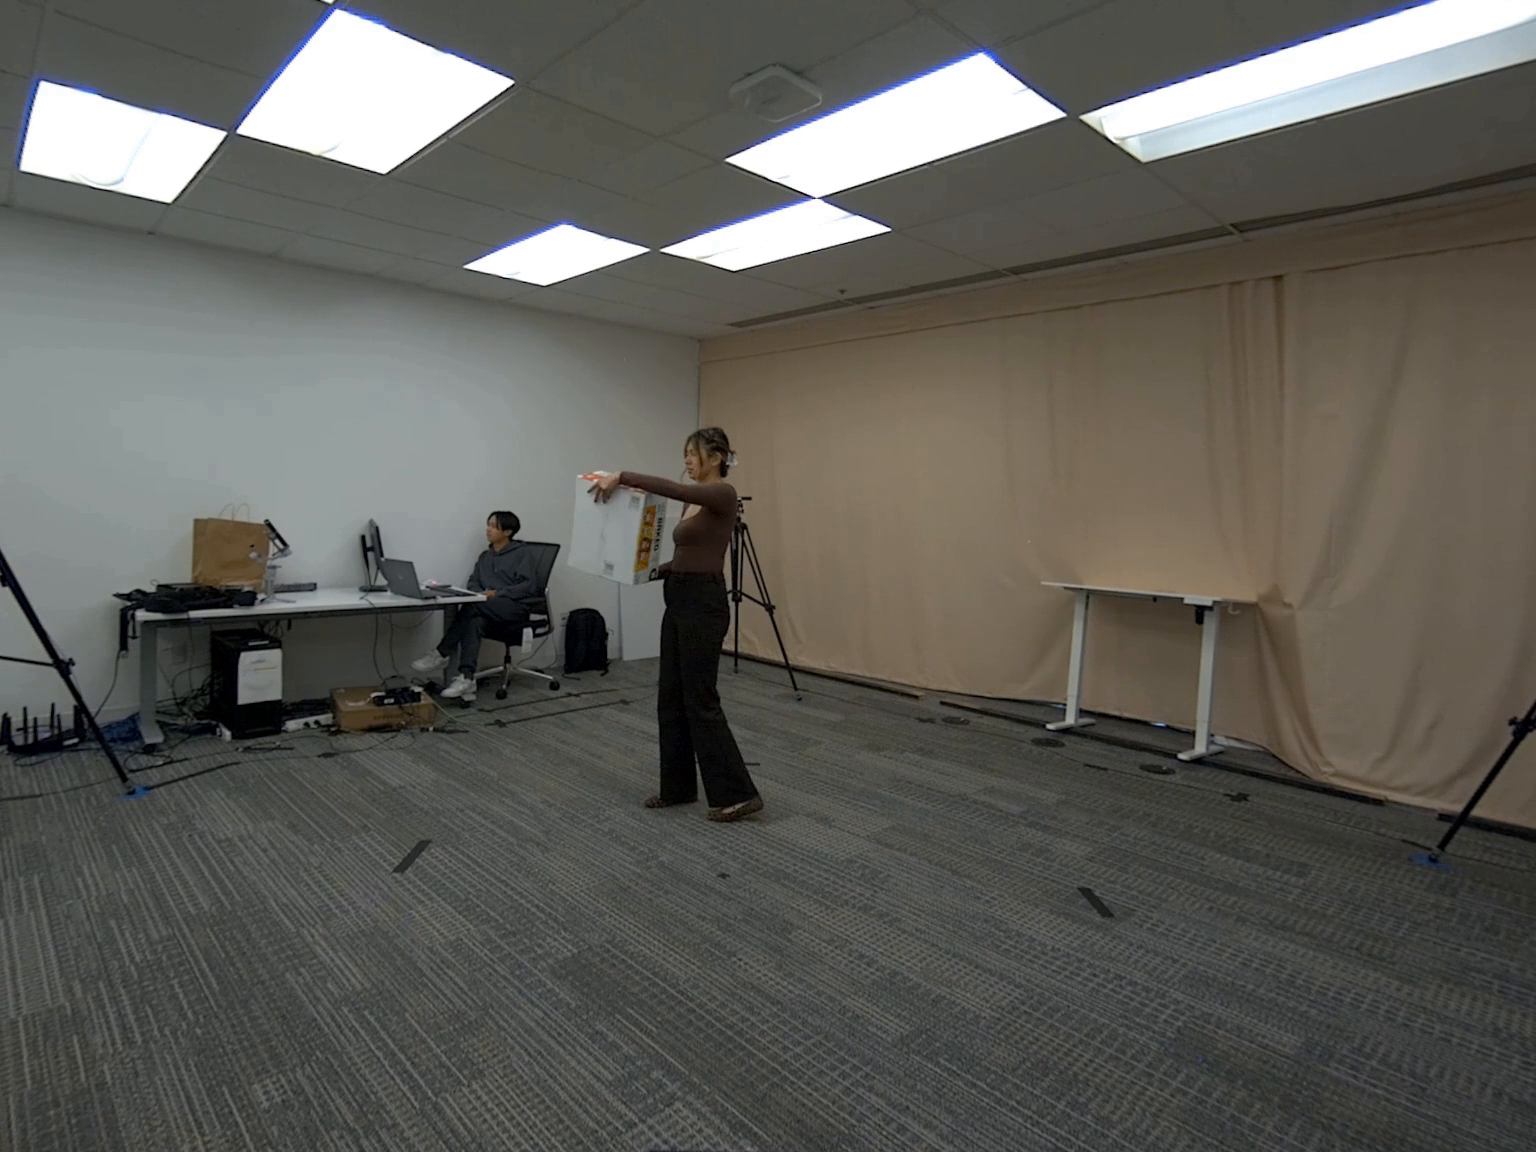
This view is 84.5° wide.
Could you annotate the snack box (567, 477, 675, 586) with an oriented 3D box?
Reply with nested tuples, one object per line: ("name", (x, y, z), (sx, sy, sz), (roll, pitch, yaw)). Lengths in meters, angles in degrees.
("snack box", (-0.652, -0.208, 3.583), (0.347, 0.401, 0.203), (15, 17, 22))
